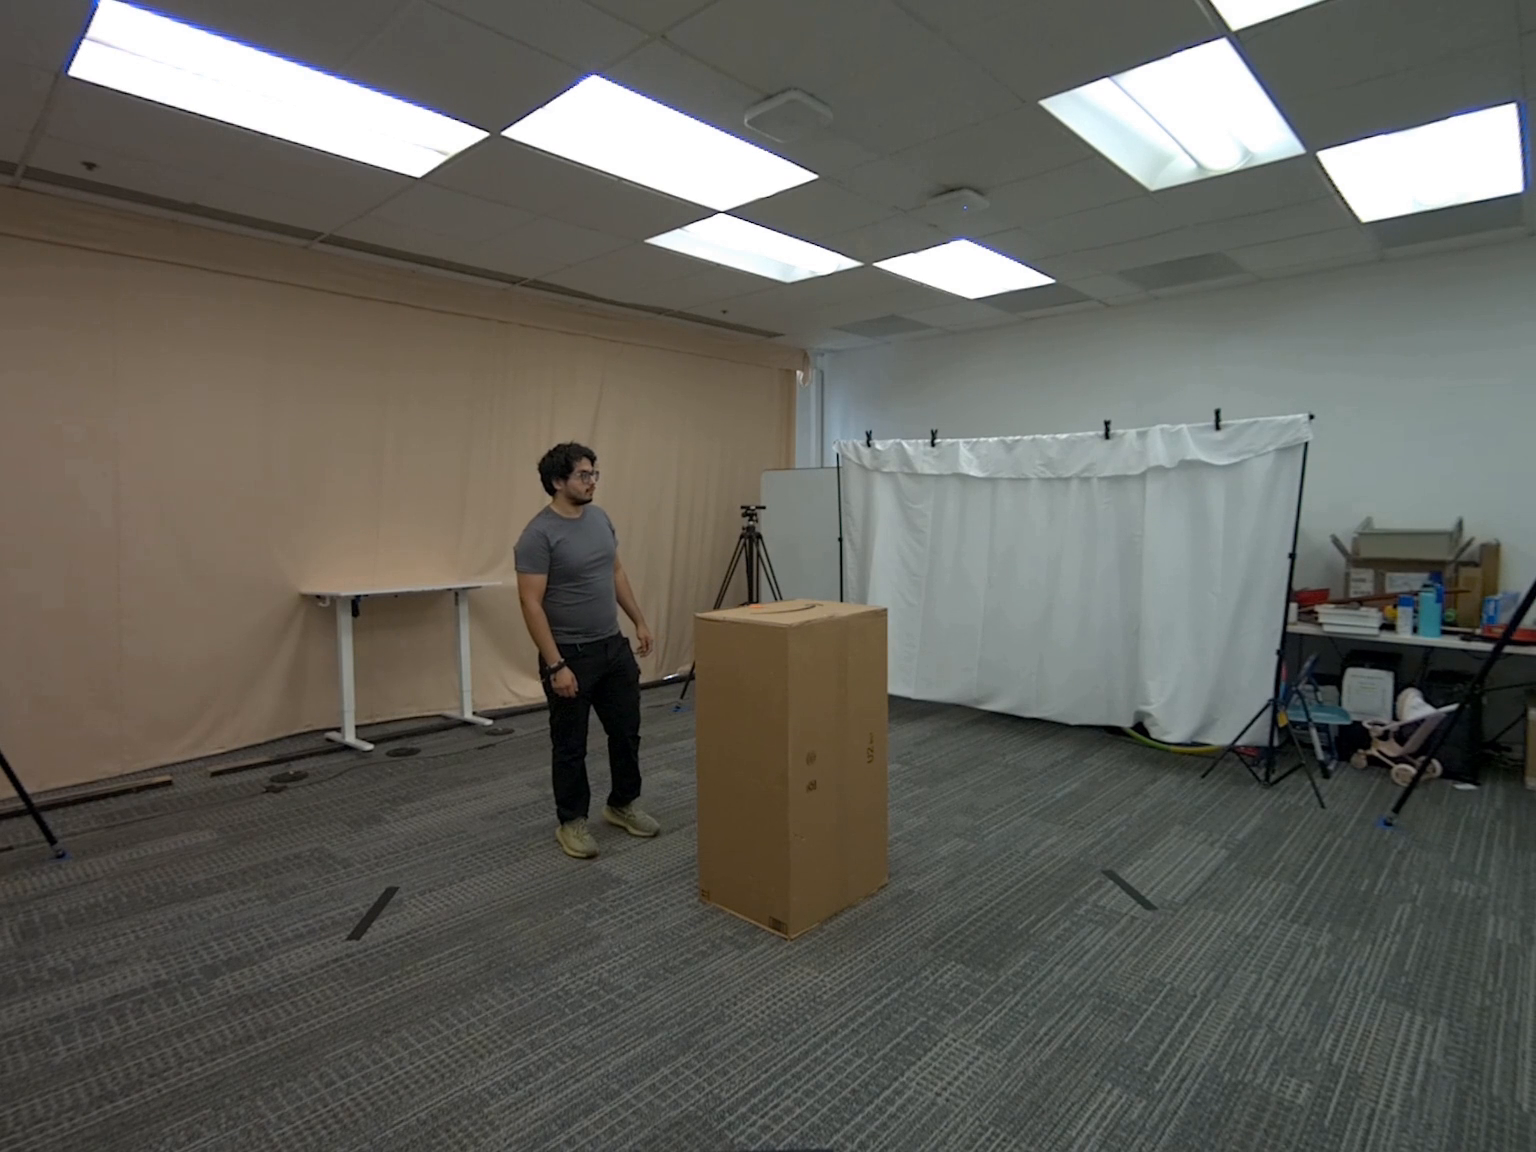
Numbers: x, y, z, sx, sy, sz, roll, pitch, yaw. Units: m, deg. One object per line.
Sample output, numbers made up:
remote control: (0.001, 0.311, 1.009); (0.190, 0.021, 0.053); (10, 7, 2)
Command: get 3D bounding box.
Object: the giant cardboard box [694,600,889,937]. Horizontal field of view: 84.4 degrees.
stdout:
giant cardboard box: (0.093, 0.632, 3.012); (0.440, 1.024, 0.560); (3, 4, 42)
